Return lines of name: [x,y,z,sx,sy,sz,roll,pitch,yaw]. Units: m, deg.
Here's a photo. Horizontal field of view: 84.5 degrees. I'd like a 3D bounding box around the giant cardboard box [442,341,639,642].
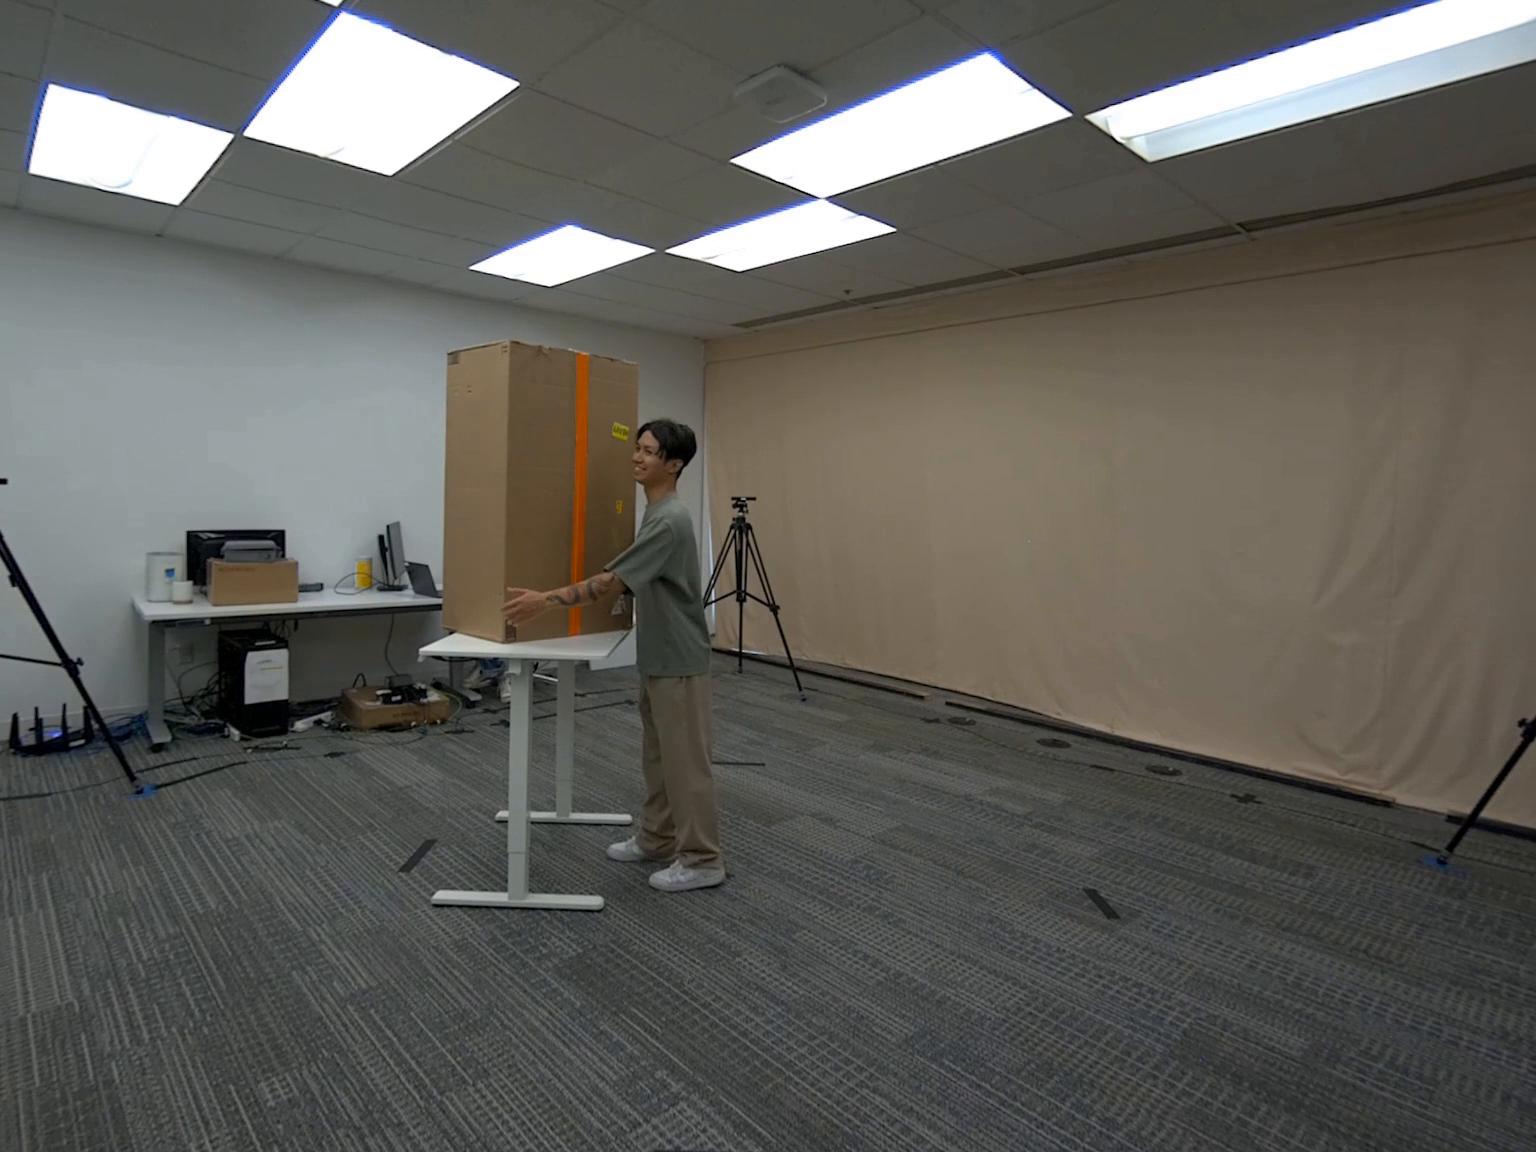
giant cardboard box: [-0.856,-0.308,3.164,0.437,1.024,0.564,5,4,41]
